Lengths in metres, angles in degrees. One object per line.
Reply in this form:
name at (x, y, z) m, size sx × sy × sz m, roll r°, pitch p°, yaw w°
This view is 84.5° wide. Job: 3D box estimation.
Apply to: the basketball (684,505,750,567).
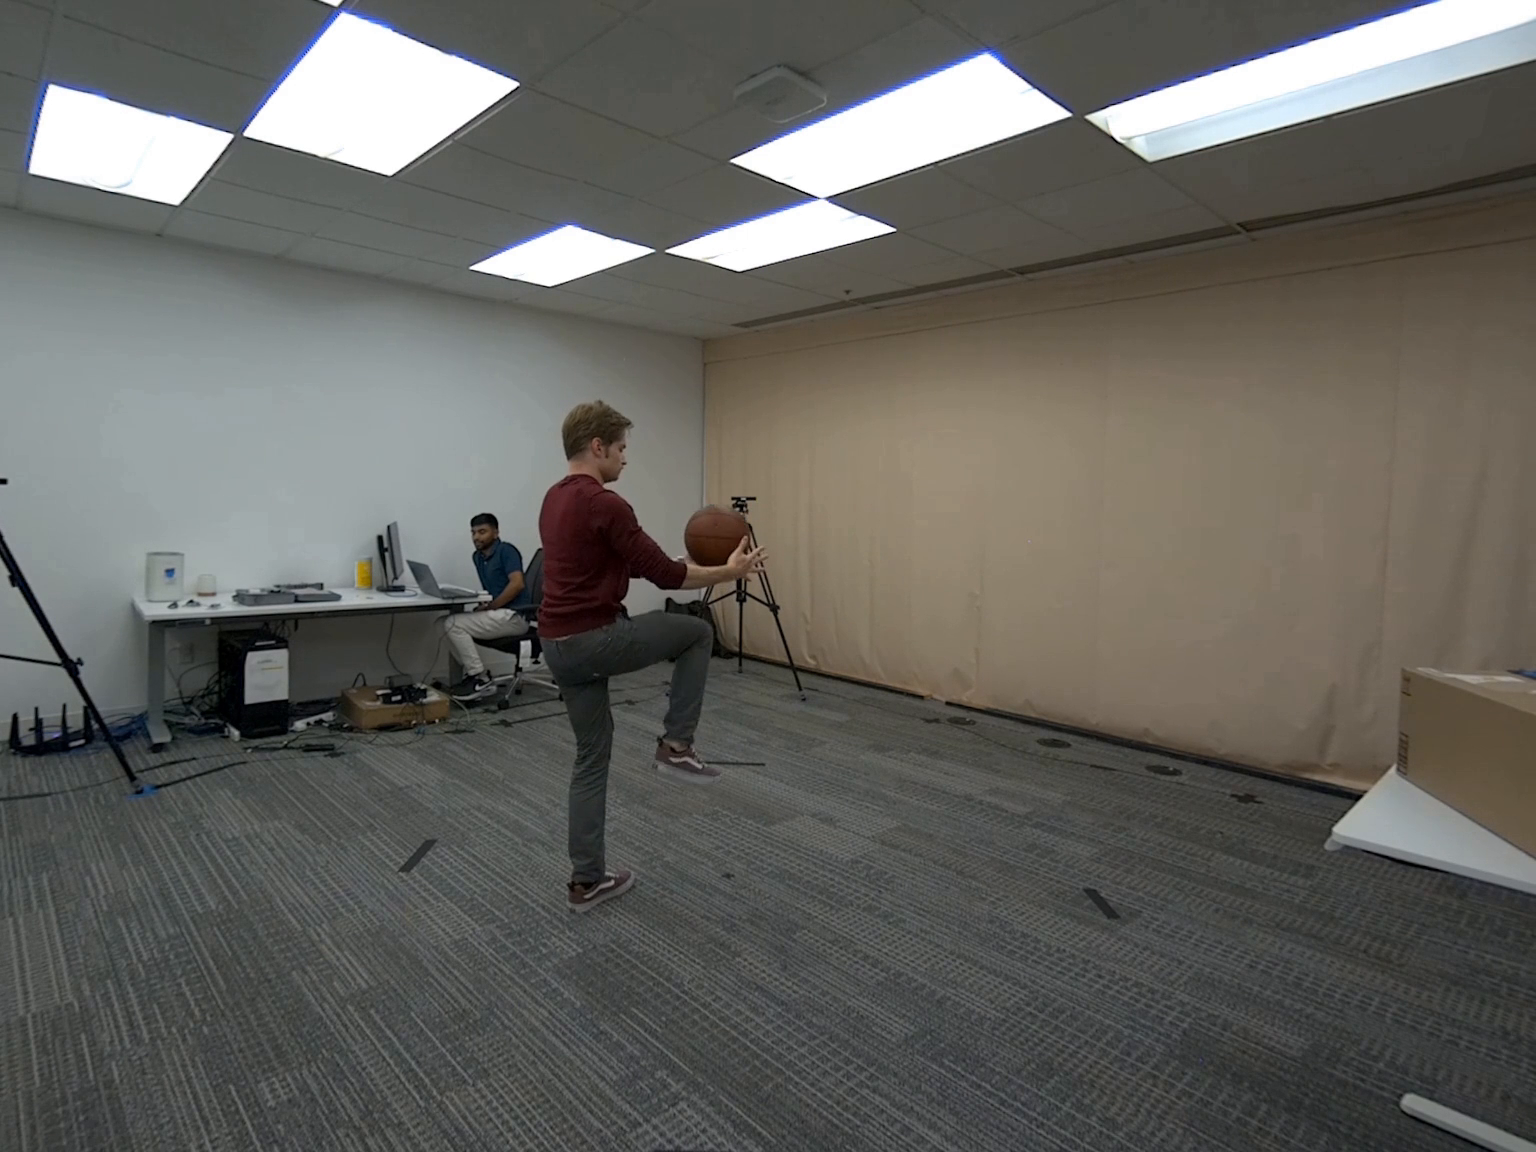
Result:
basketball at (-0.189, -0.138, 3.016) m, size 0.236 × 0.235 × 0.237 m, roll 1°, pitch 4°, yaw -1°
